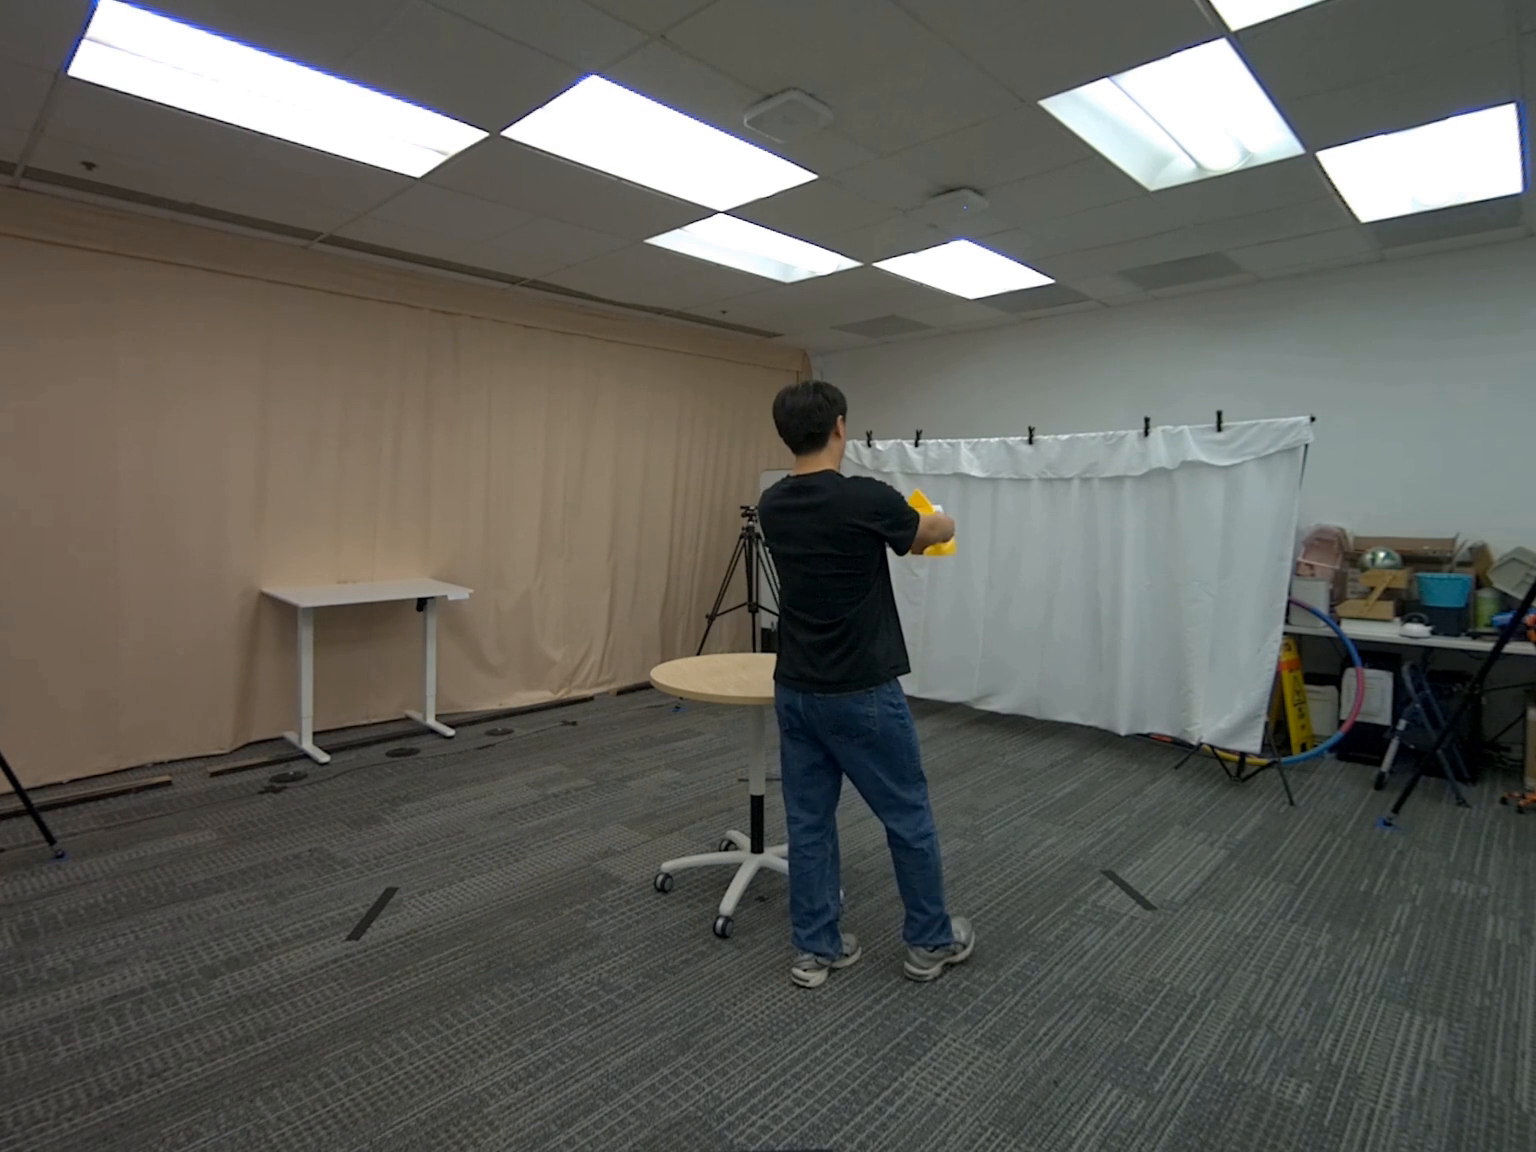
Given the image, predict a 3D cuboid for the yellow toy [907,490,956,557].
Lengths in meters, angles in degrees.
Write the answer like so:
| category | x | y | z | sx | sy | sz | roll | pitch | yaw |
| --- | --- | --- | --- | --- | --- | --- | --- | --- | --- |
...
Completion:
| category | x | y | z | sx | sy | sz | roll | pitch | yaw |
| --- | --- | --- | --- | --- | --- | --- | --- | --- | --- |
| yellow toy | 0.554 | -0.198 | 2.968 | 0.211 | 0.229 | 0.188 | 2 | 9 | 34 |
